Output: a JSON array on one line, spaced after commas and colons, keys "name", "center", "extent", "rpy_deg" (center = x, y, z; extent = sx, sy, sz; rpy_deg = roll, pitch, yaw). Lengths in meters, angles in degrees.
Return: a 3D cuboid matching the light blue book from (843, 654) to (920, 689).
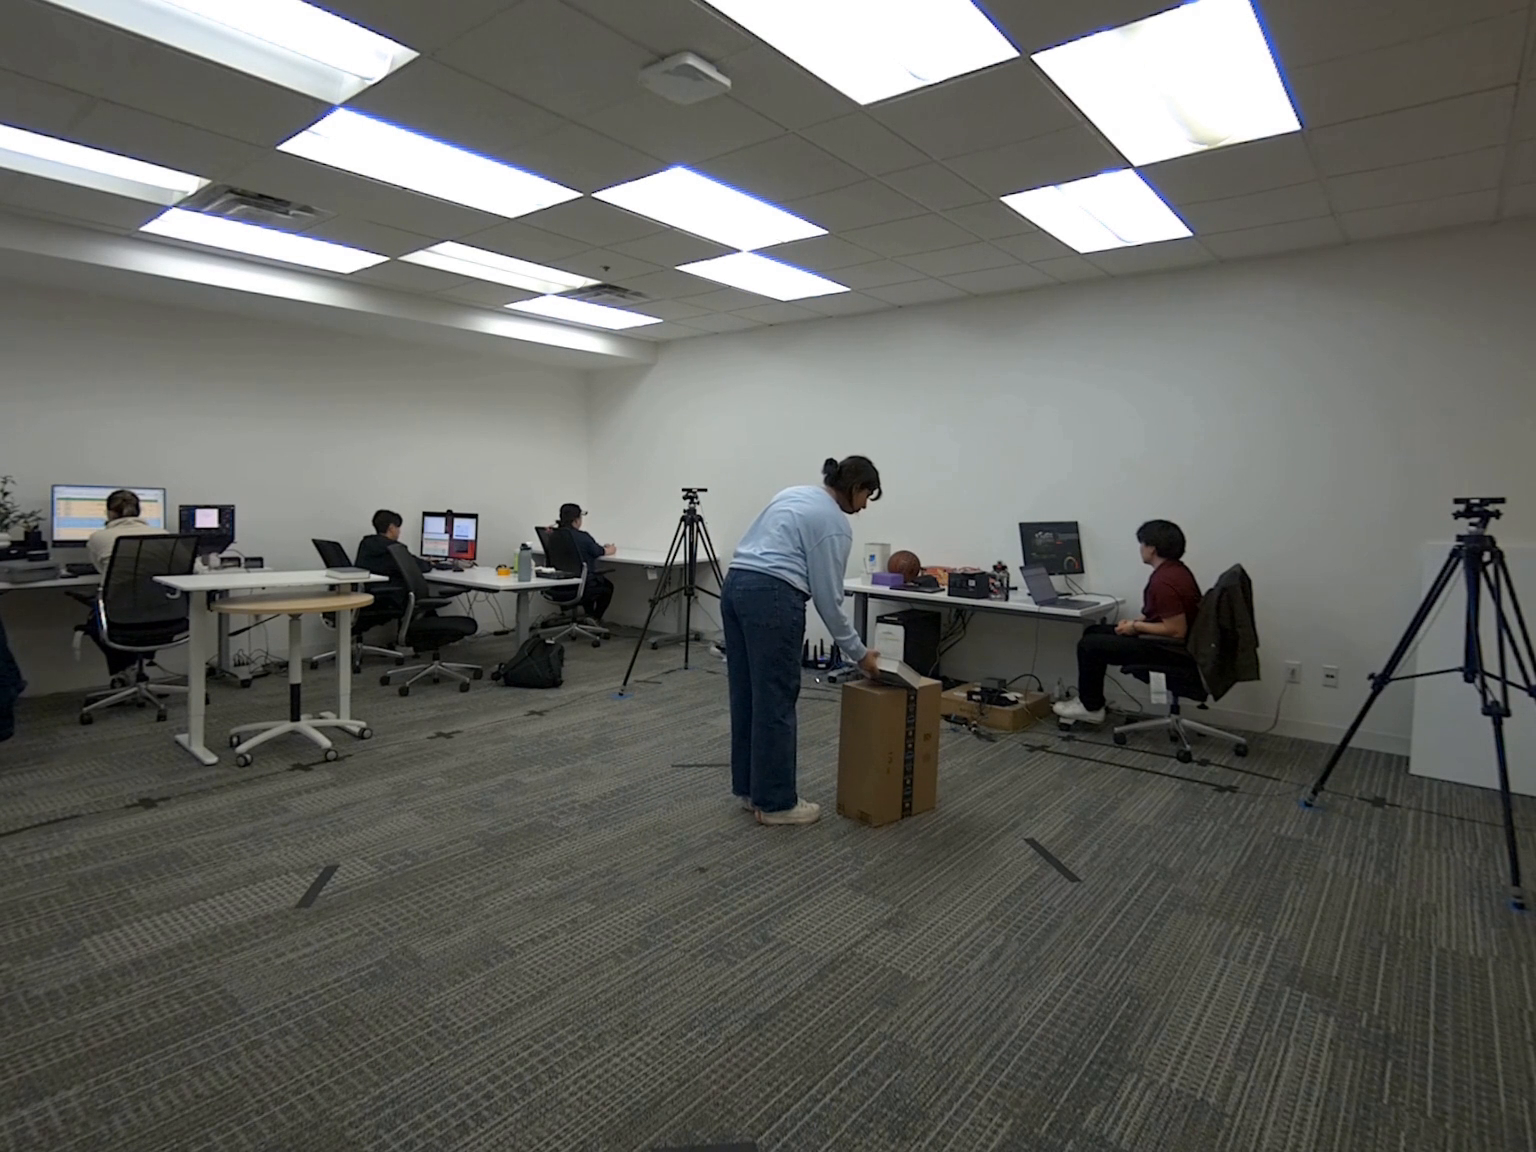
[{"name": "light blue book", "center": [0.487, 0.395, 3.641], "extent": [0.270, 0.059, 0.183], "rpy_deg": [8, -21, 45]}]
